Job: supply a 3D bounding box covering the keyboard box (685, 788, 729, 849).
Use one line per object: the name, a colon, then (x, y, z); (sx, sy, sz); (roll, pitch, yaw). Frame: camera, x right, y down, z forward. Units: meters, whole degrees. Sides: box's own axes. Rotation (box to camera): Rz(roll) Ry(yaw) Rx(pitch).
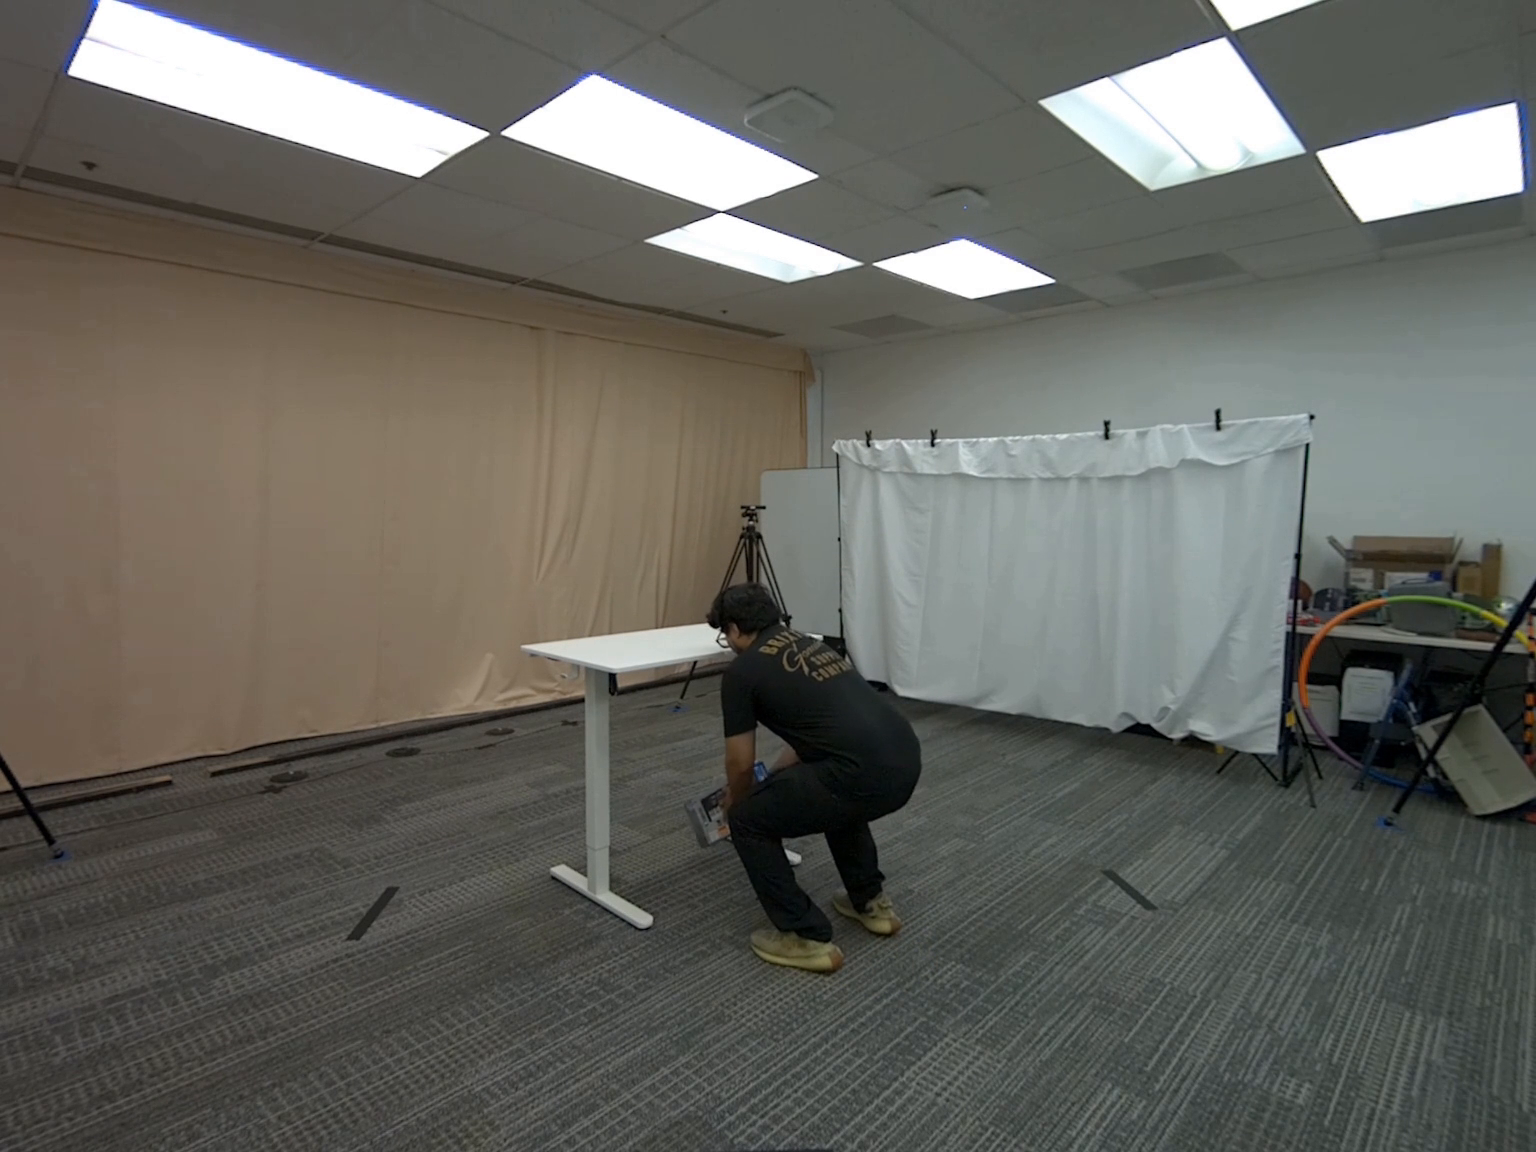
keyboard box: (-0.130, 0.829, 2.992); (0.057, 0.179, 0.442); (-5, -25, -45)
